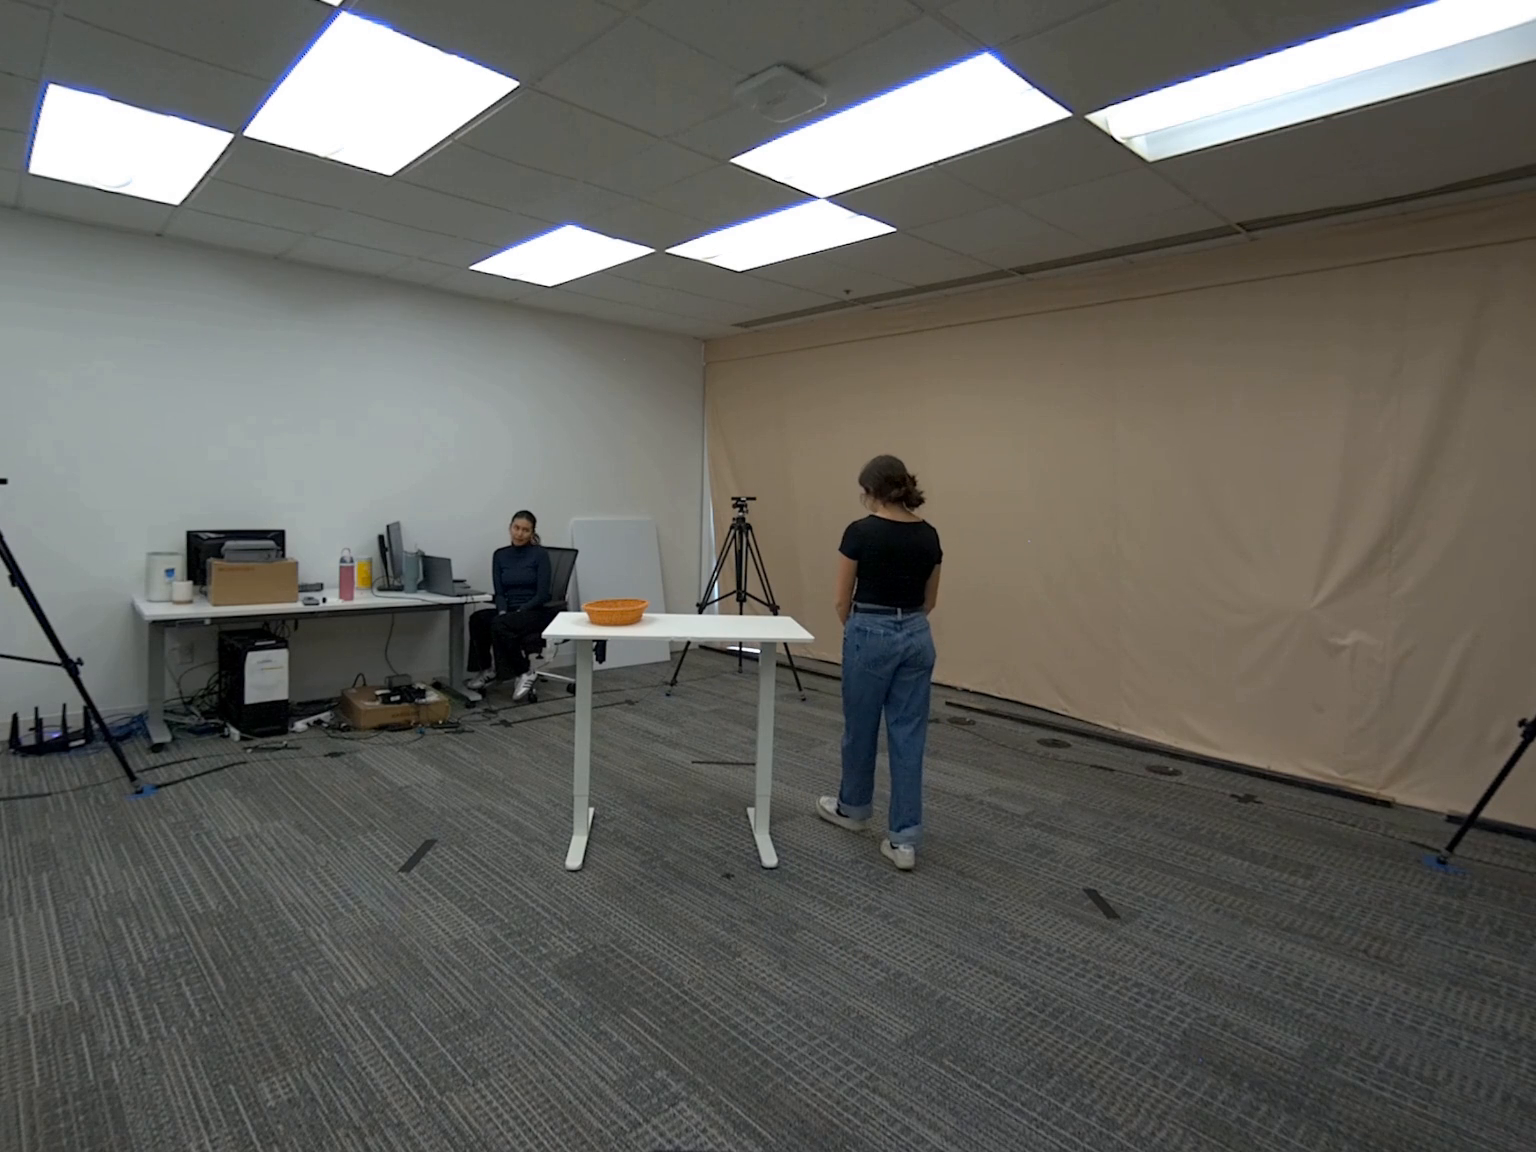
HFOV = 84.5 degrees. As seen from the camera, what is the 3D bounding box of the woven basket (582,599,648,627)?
[{"bbox_3d":[-0.638,0.153,3.429,0.255,0.073,0.348,2,5,12],"label":"woven basket"}]
